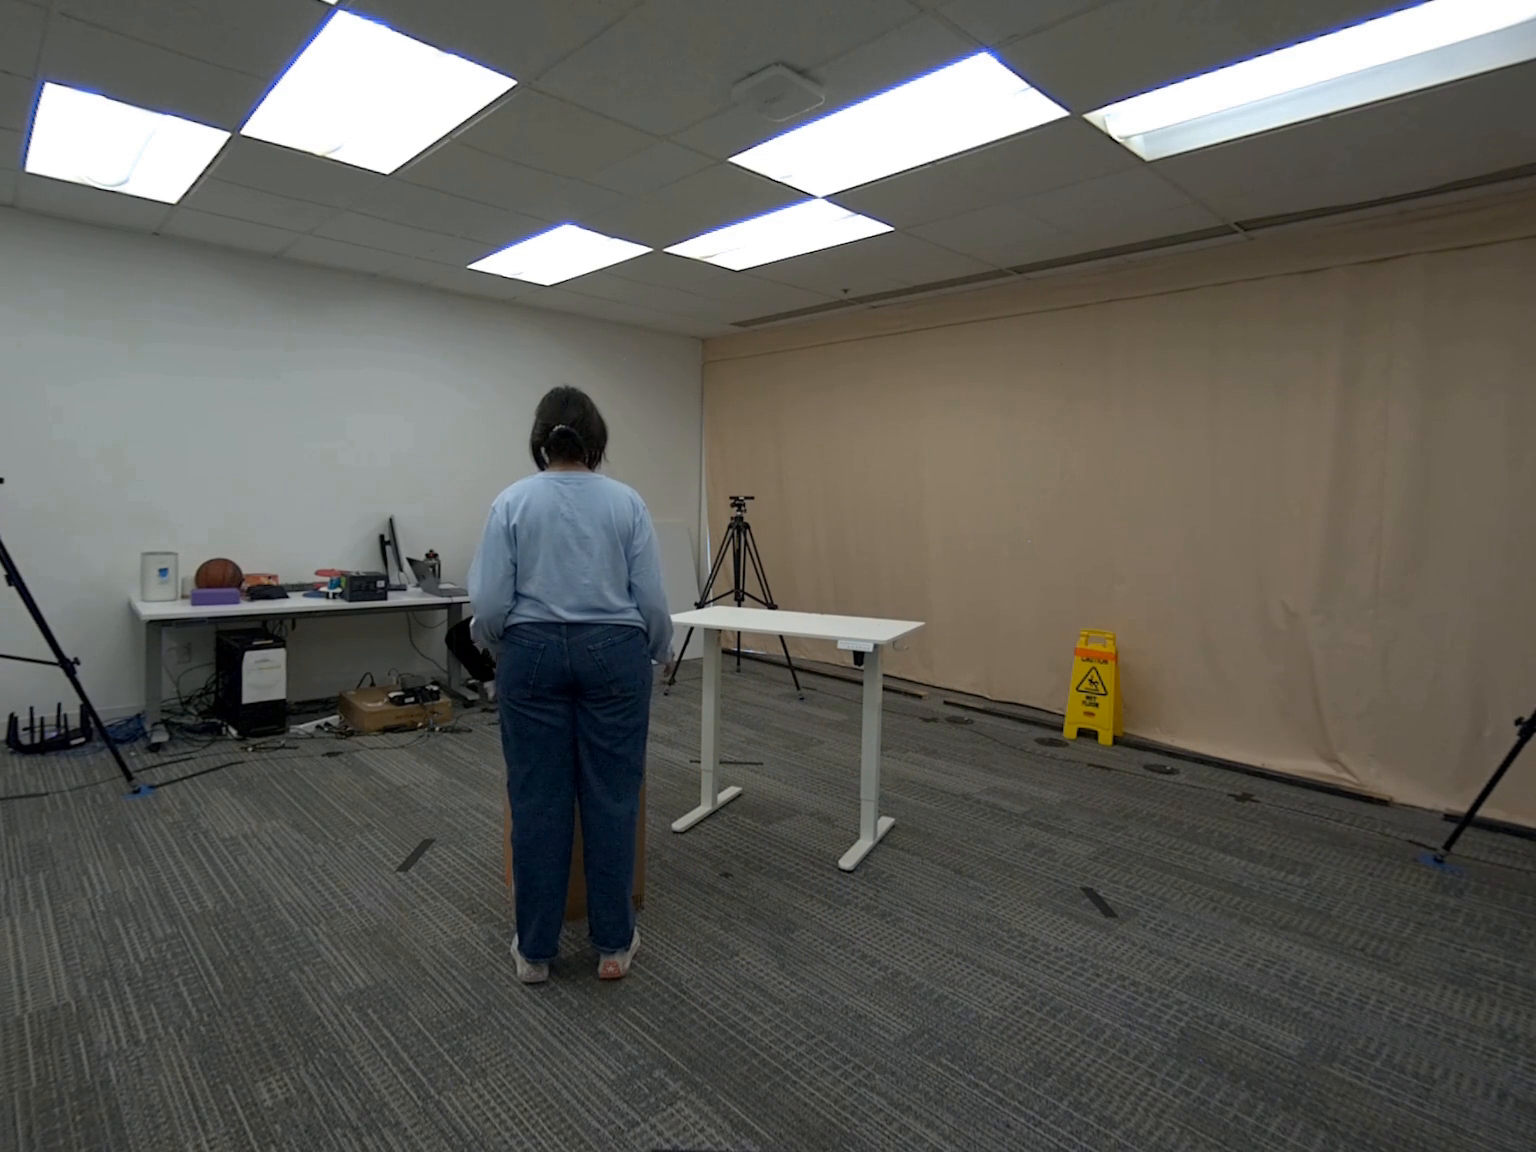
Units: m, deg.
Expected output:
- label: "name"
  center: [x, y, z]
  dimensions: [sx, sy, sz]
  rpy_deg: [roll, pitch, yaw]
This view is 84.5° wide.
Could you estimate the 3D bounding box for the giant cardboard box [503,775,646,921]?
- label: "giant cardboard box"
  center: [-0.713, 0.595, 3.010]
  dimensions: [0.419, 1.023, 0.588]
  rpy_deg: [0, 4, -22]
